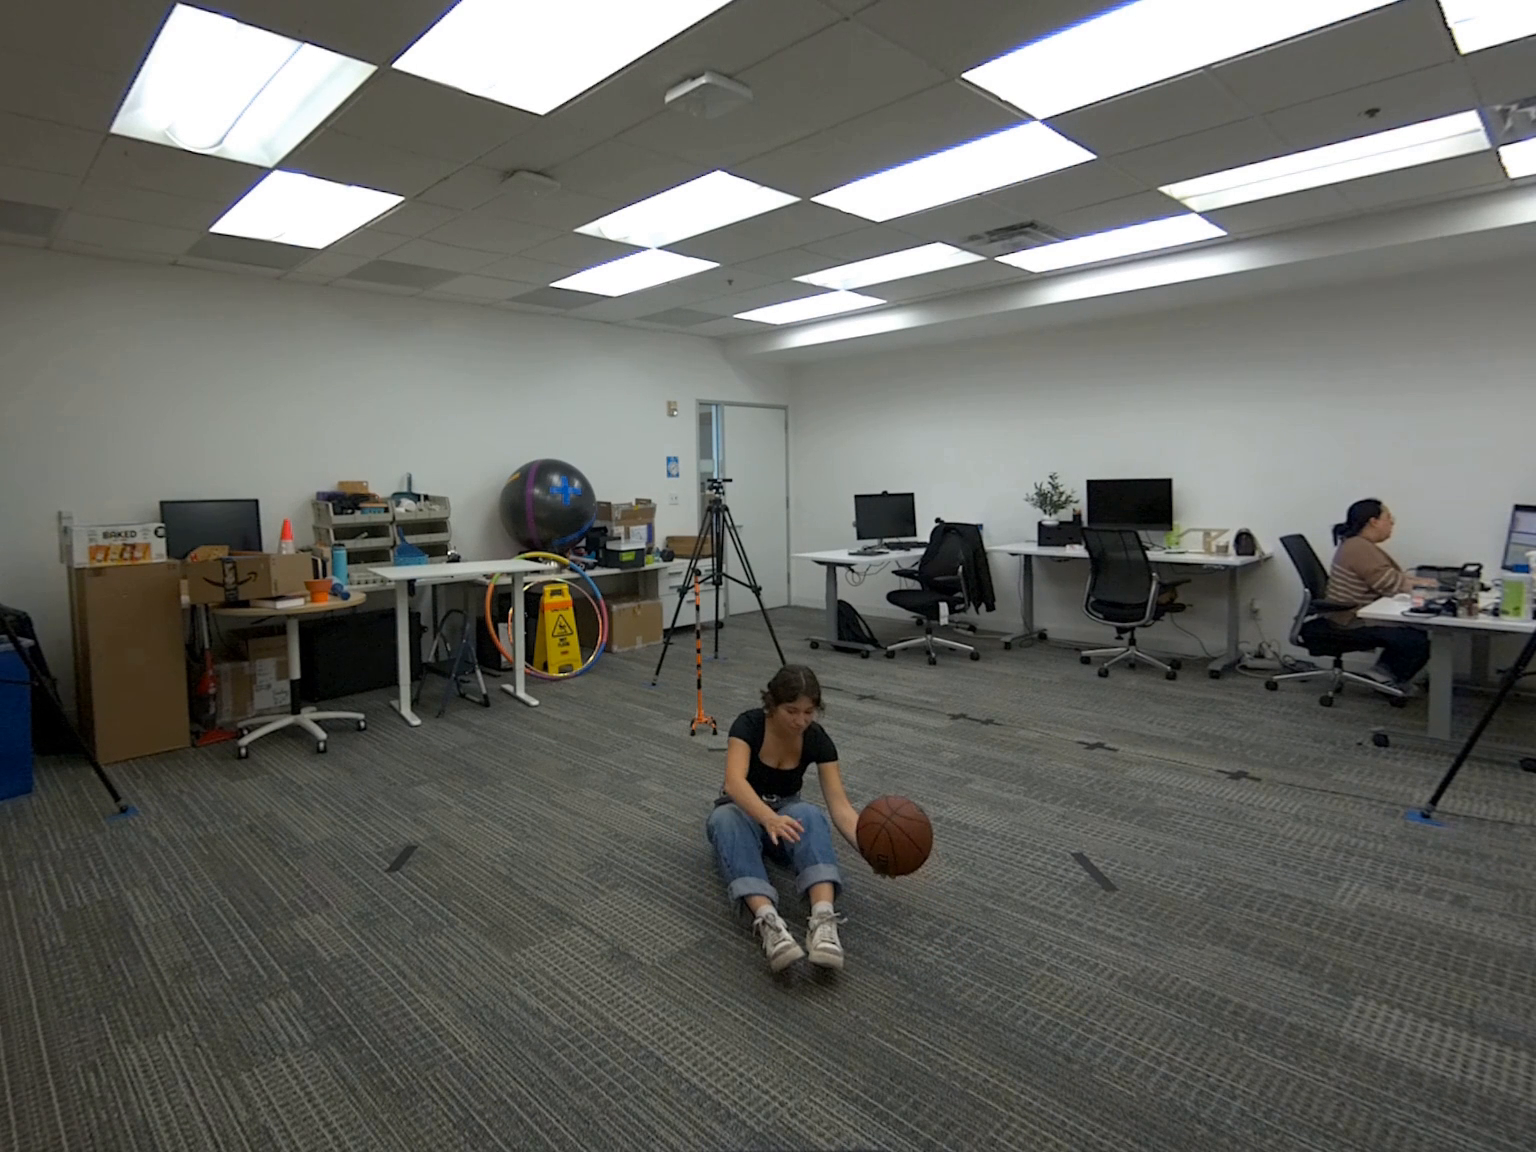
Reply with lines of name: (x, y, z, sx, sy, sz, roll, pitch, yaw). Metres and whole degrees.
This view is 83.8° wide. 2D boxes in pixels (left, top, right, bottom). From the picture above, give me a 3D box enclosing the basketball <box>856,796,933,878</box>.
basketball: (0.403, 0.813, 2.680, 0.236, 0.235, 0.237, -1, 5, -2)
